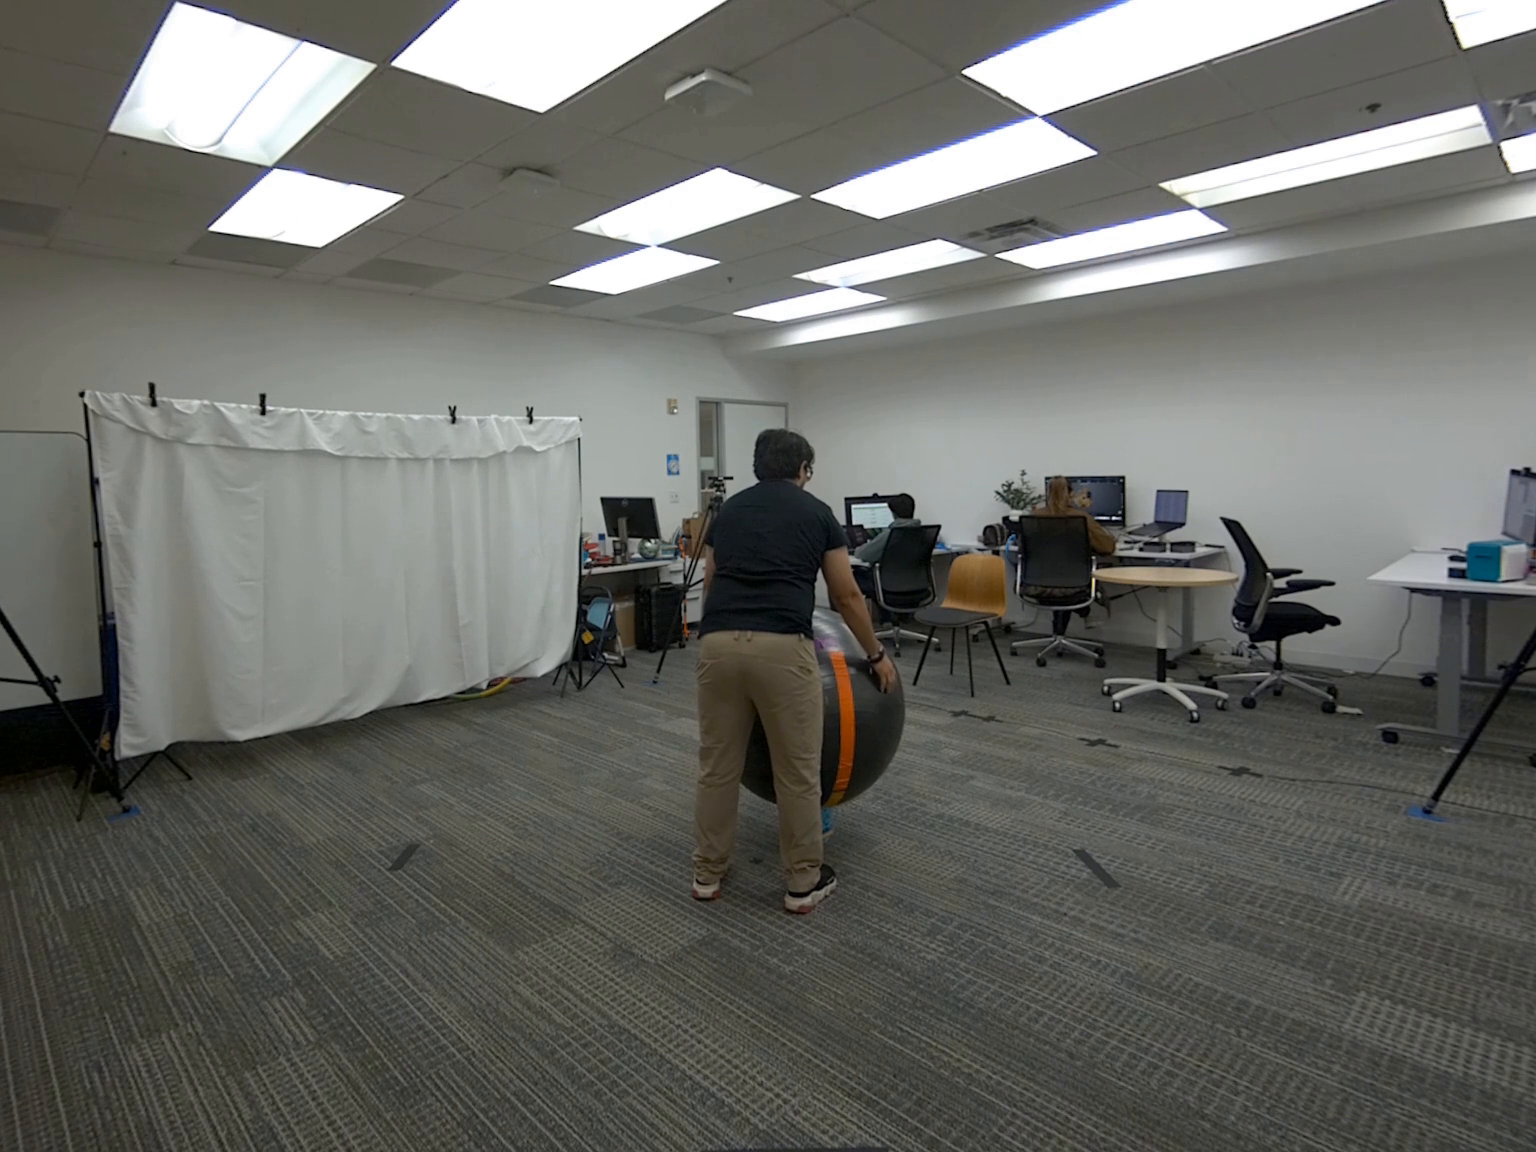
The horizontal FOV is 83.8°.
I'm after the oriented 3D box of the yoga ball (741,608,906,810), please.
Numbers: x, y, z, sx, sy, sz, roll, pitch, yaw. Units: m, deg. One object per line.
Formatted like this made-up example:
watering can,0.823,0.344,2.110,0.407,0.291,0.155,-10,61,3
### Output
yoga ball,0.143,0.503,3.294,0.757,0.755,0.762,-1,5,-2
